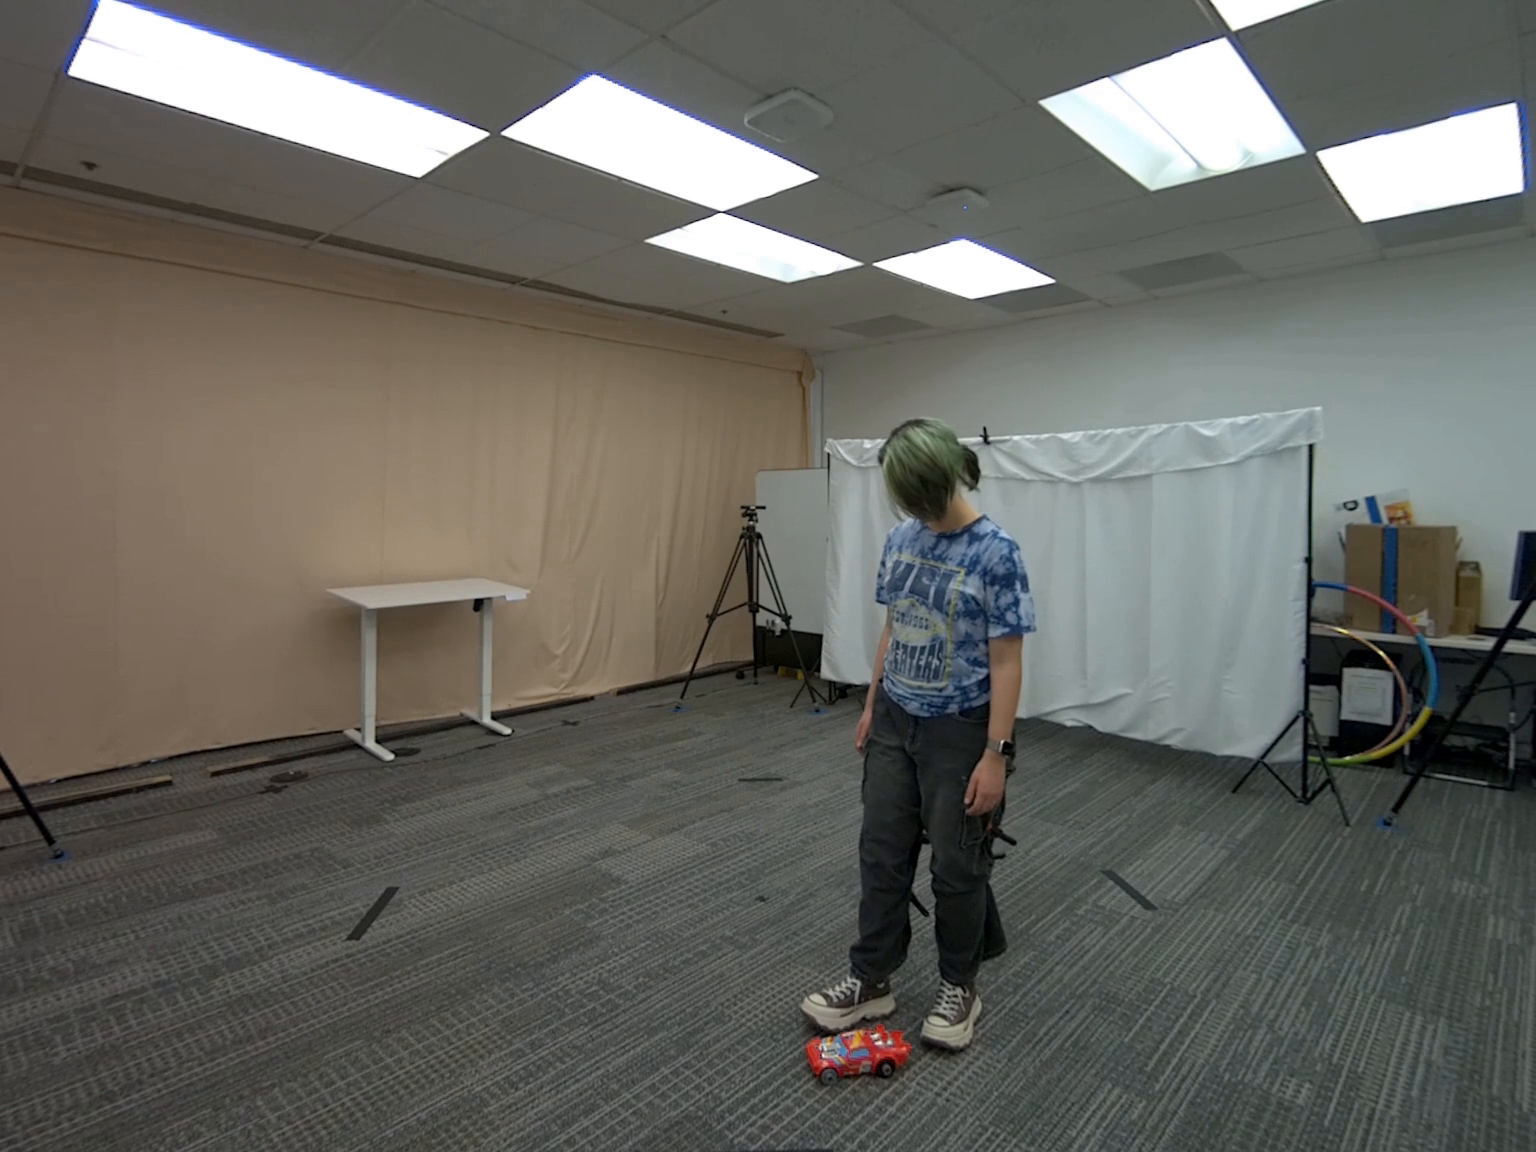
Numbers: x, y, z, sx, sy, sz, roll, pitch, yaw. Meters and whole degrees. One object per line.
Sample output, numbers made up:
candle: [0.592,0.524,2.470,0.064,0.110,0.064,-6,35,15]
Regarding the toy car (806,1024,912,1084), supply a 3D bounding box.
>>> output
toy car: [0.237,1.181,2.098,0.253,0.083,0.132,-12,7,-7]
